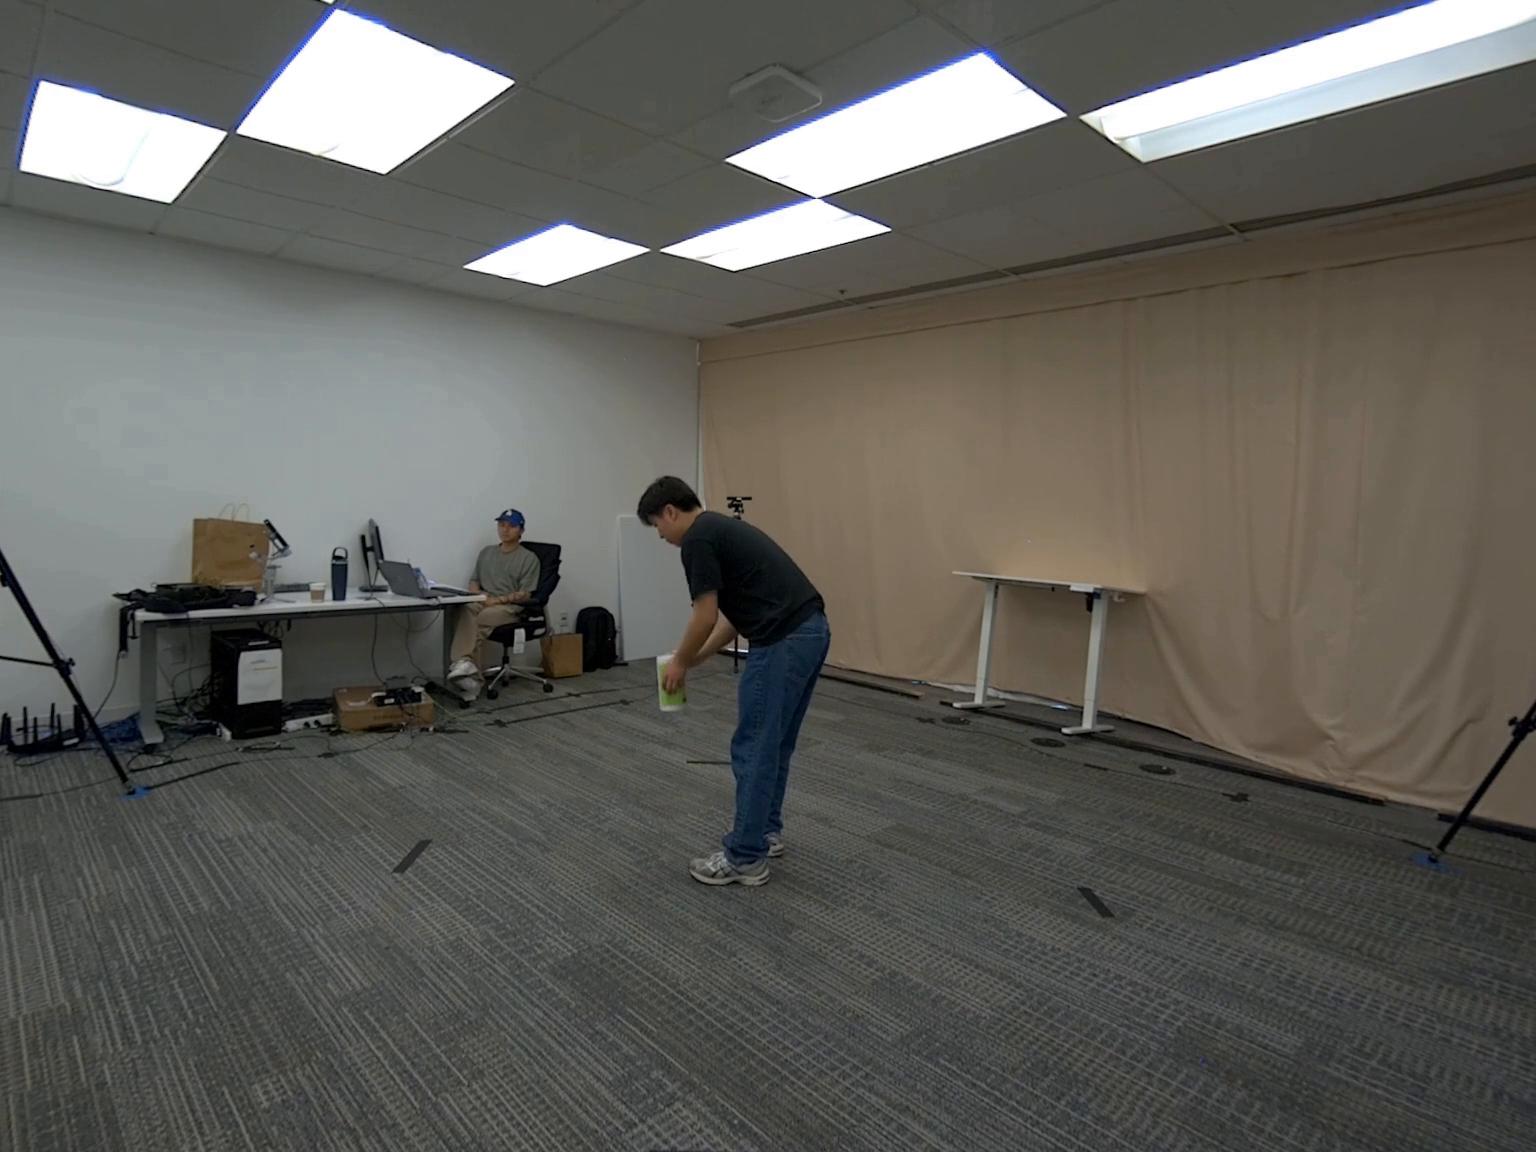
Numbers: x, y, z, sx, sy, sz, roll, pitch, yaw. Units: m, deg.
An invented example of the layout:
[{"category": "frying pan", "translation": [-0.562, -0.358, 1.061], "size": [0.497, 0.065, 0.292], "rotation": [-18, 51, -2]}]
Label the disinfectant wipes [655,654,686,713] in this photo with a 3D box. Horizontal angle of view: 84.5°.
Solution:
[{"category": "disinfectant wipes", "translation": [-0.389, 0.428, 3.366], "size": [0.118, 0.218, 0.117], "rotation": [-5, -4, -2]}]
